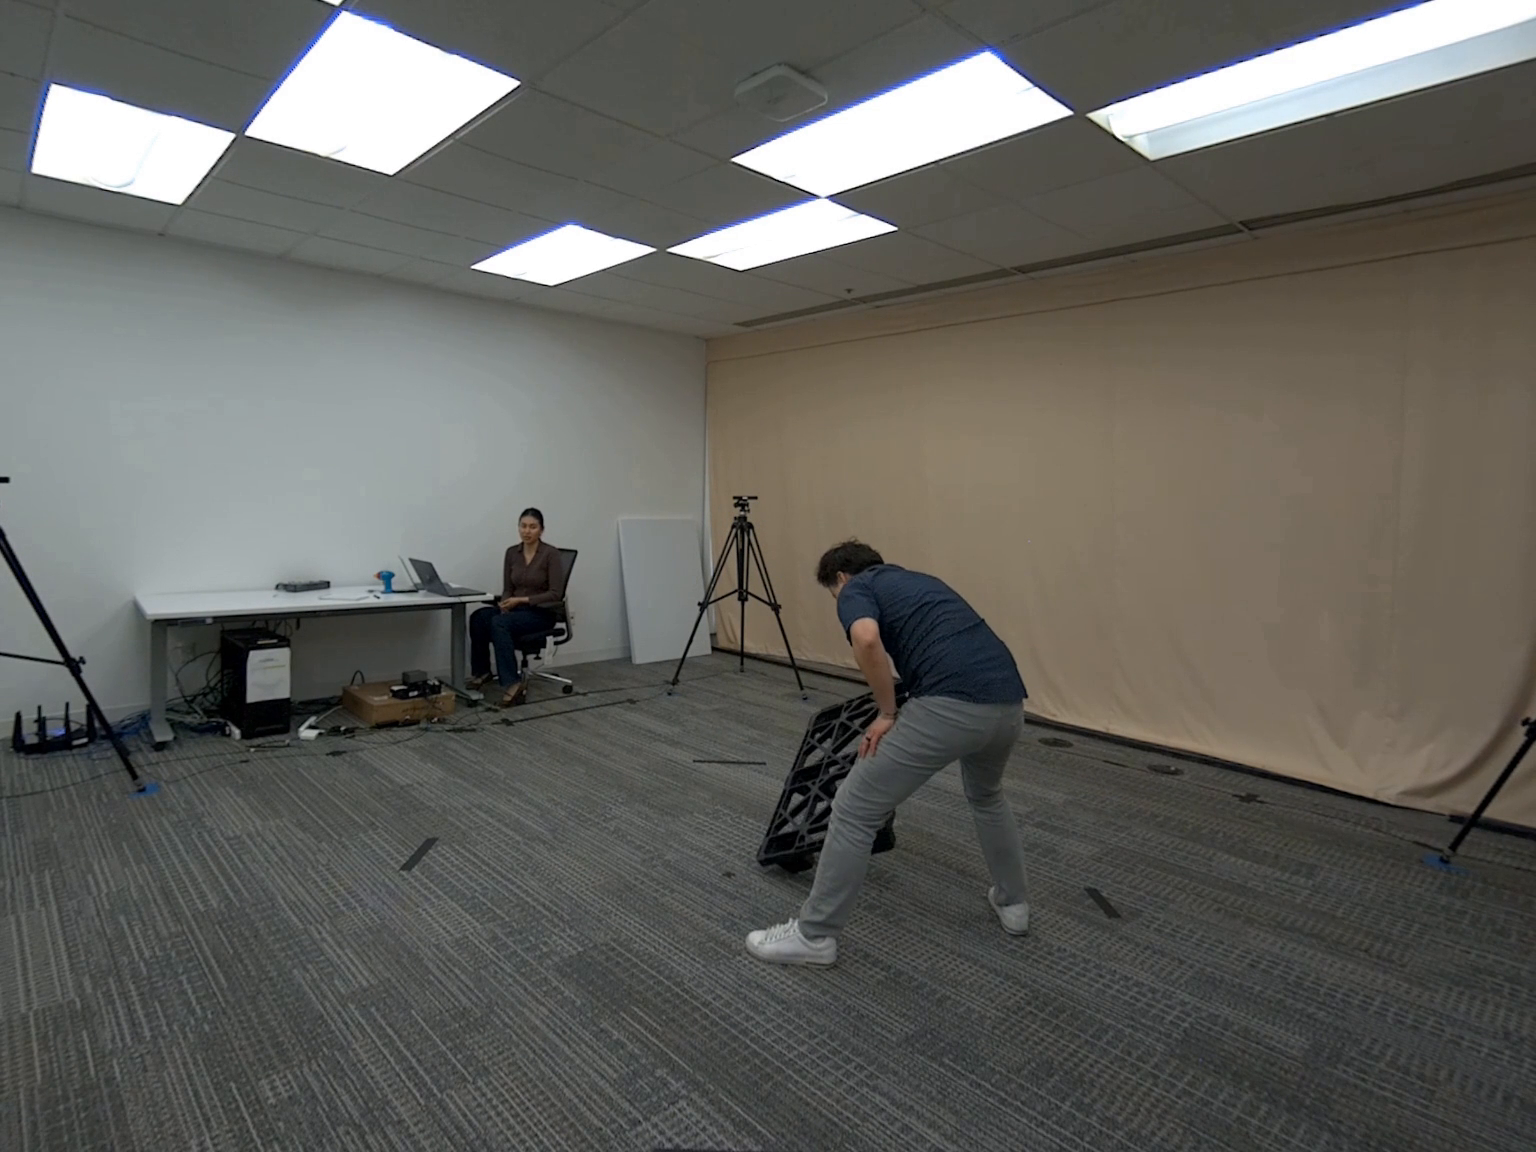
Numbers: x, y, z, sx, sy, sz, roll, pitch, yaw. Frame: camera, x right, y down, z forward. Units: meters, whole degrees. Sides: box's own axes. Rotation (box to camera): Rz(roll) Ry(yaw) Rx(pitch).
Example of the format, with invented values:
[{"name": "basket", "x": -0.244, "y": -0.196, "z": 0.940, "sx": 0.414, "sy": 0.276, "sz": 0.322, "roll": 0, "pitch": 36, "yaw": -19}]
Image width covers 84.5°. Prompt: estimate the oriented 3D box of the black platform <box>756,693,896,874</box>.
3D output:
[{"name": "black platform", "x": 0.329, "y": 0.763, "z": 3.265, "sx": 0.610, "sy": 0.141, "sz": 0.811, "roll": -29, "pitch": 20, "yaw": 36}]
